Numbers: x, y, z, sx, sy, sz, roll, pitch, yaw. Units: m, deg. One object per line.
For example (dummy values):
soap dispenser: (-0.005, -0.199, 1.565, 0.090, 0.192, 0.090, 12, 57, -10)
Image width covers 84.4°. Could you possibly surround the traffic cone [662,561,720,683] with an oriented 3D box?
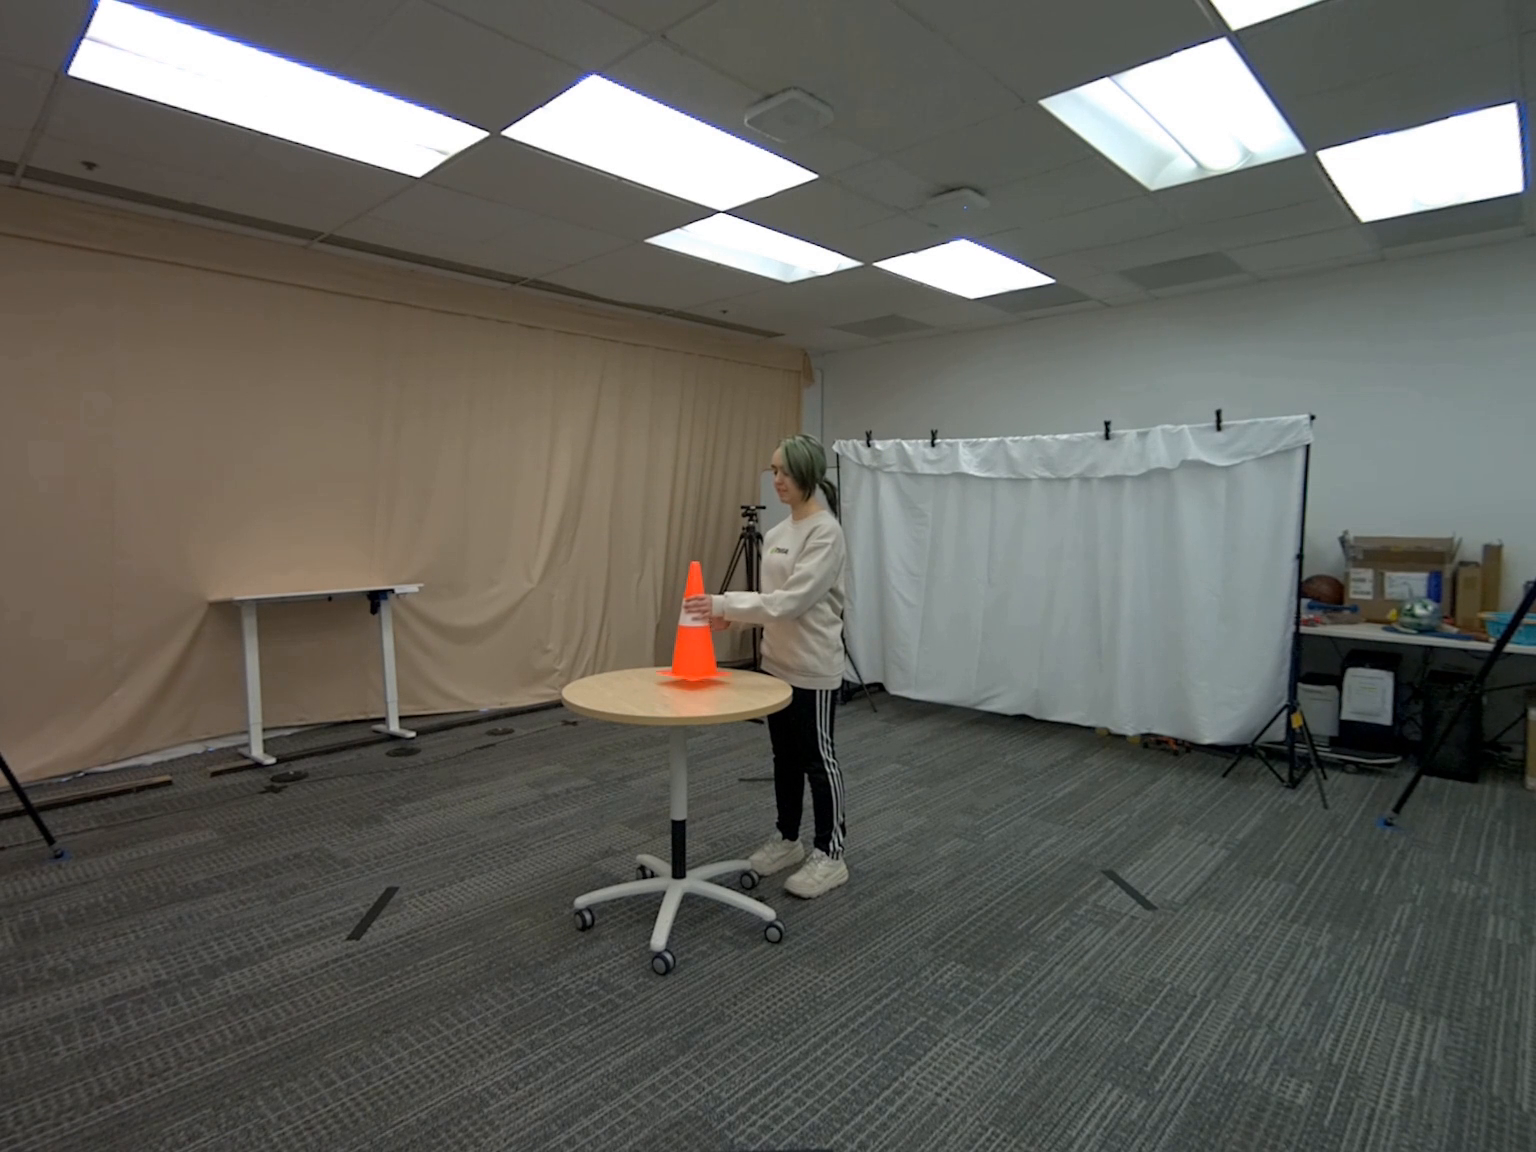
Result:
traffic cone: (-0.254, 0.141, 2.882, 0.211, 0.384, 0.197, -1, 0, 40)
